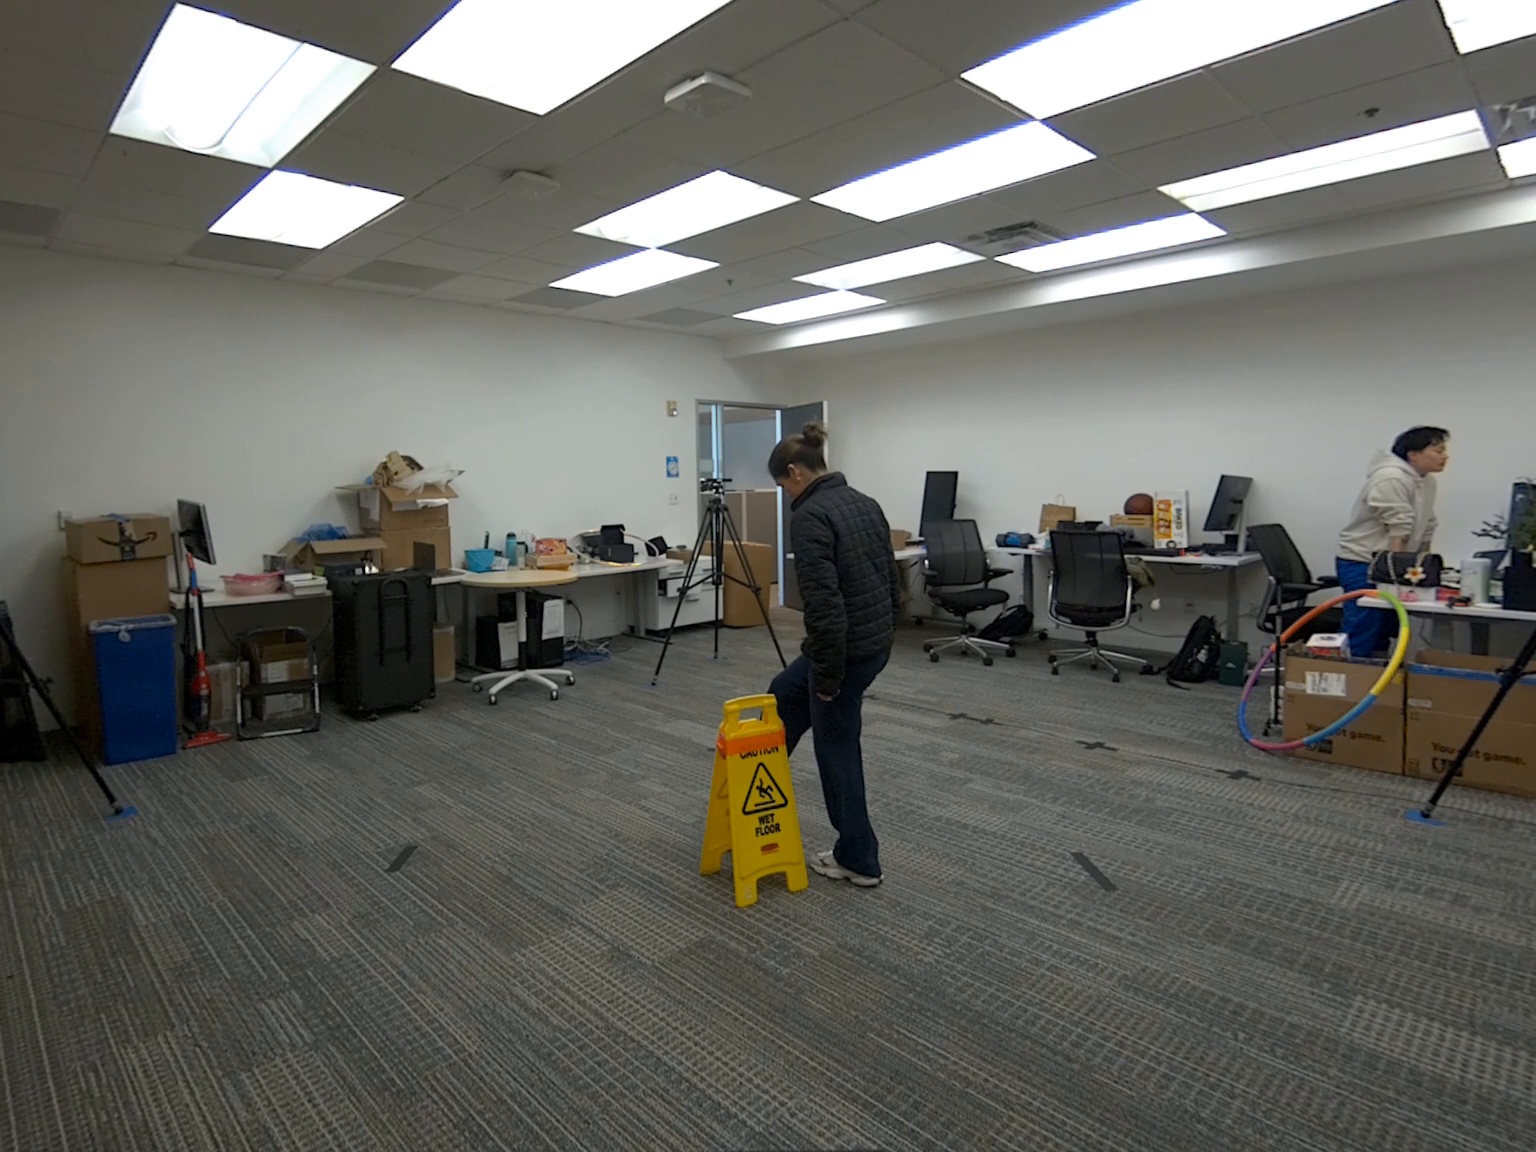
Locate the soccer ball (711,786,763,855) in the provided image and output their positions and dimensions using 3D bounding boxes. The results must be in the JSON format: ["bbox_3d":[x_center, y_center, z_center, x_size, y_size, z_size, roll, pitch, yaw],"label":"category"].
[{"bbox_3d":[-0.121,0.928,3.271,0.187,0.187,0.188,-1,5,-2],"label":"soccer ball"}]
